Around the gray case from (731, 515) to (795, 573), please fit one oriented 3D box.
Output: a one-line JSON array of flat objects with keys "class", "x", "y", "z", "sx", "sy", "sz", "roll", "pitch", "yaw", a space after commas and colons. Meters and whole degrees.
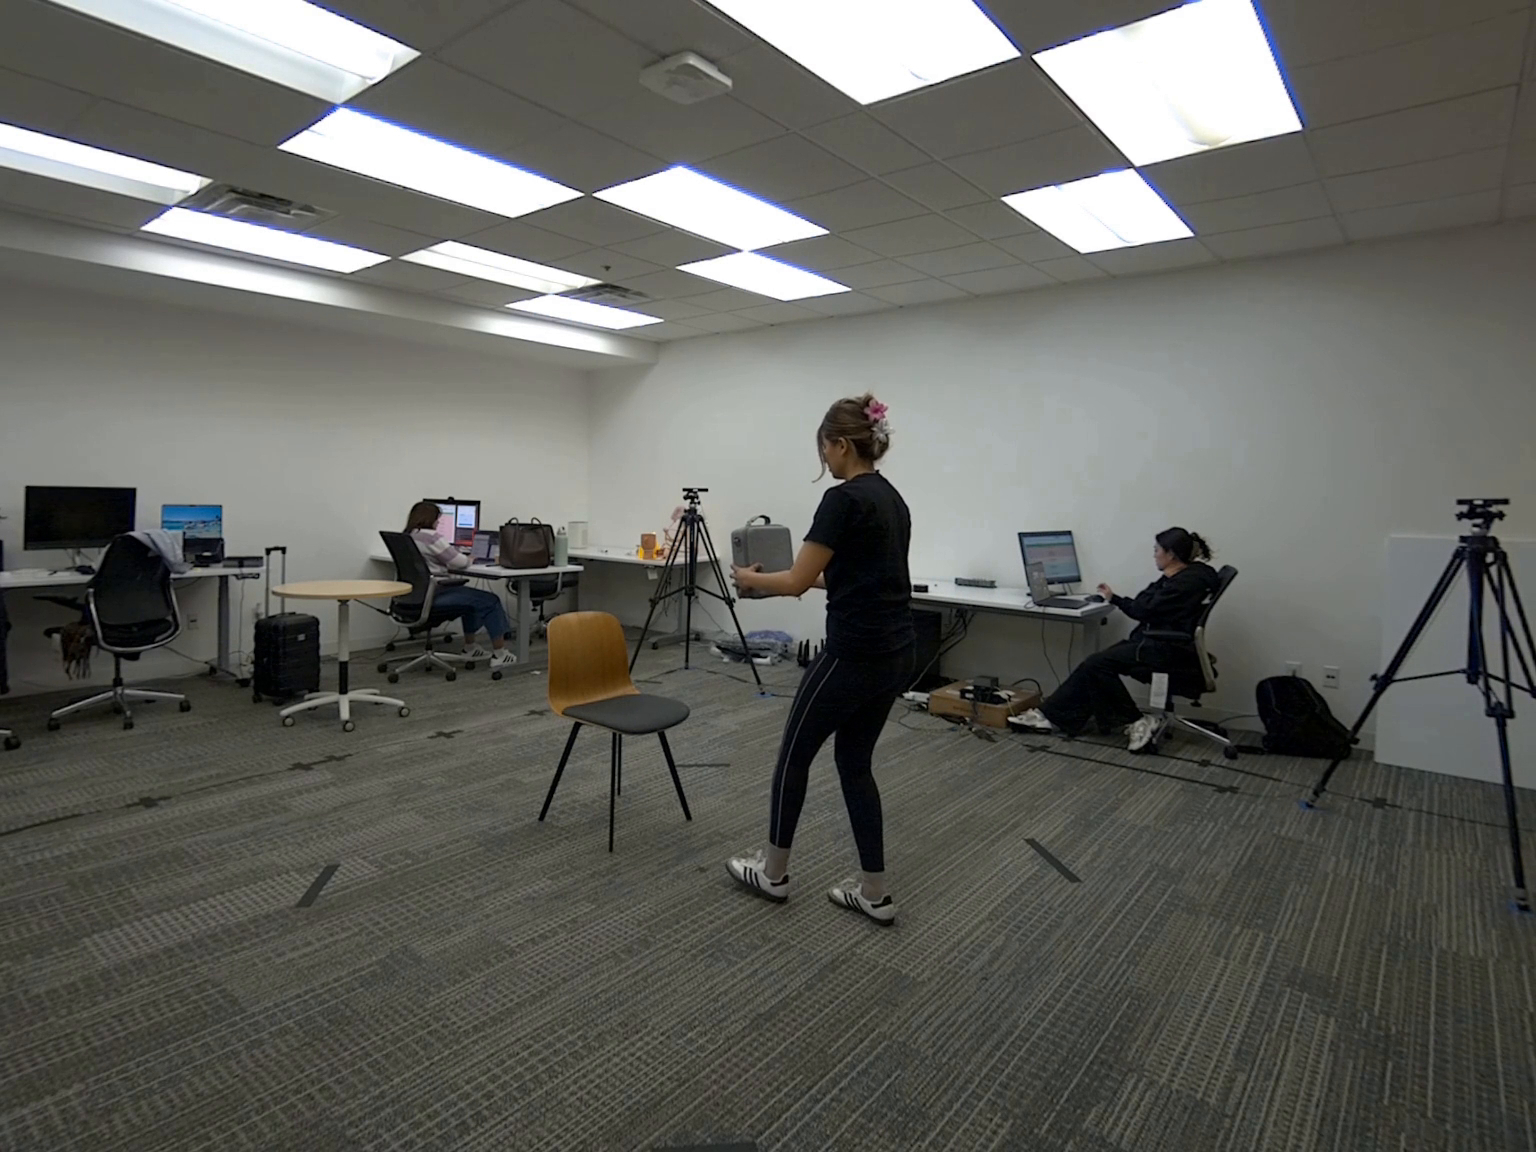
[{"class": "gray case", "x": -0.022, "y": -0.057, "z": 3.034, "sx": 0.107, "sy": 0.261, "sz": 0.249, "roll": -6, "pitch": -2, "yaw": 37}]
